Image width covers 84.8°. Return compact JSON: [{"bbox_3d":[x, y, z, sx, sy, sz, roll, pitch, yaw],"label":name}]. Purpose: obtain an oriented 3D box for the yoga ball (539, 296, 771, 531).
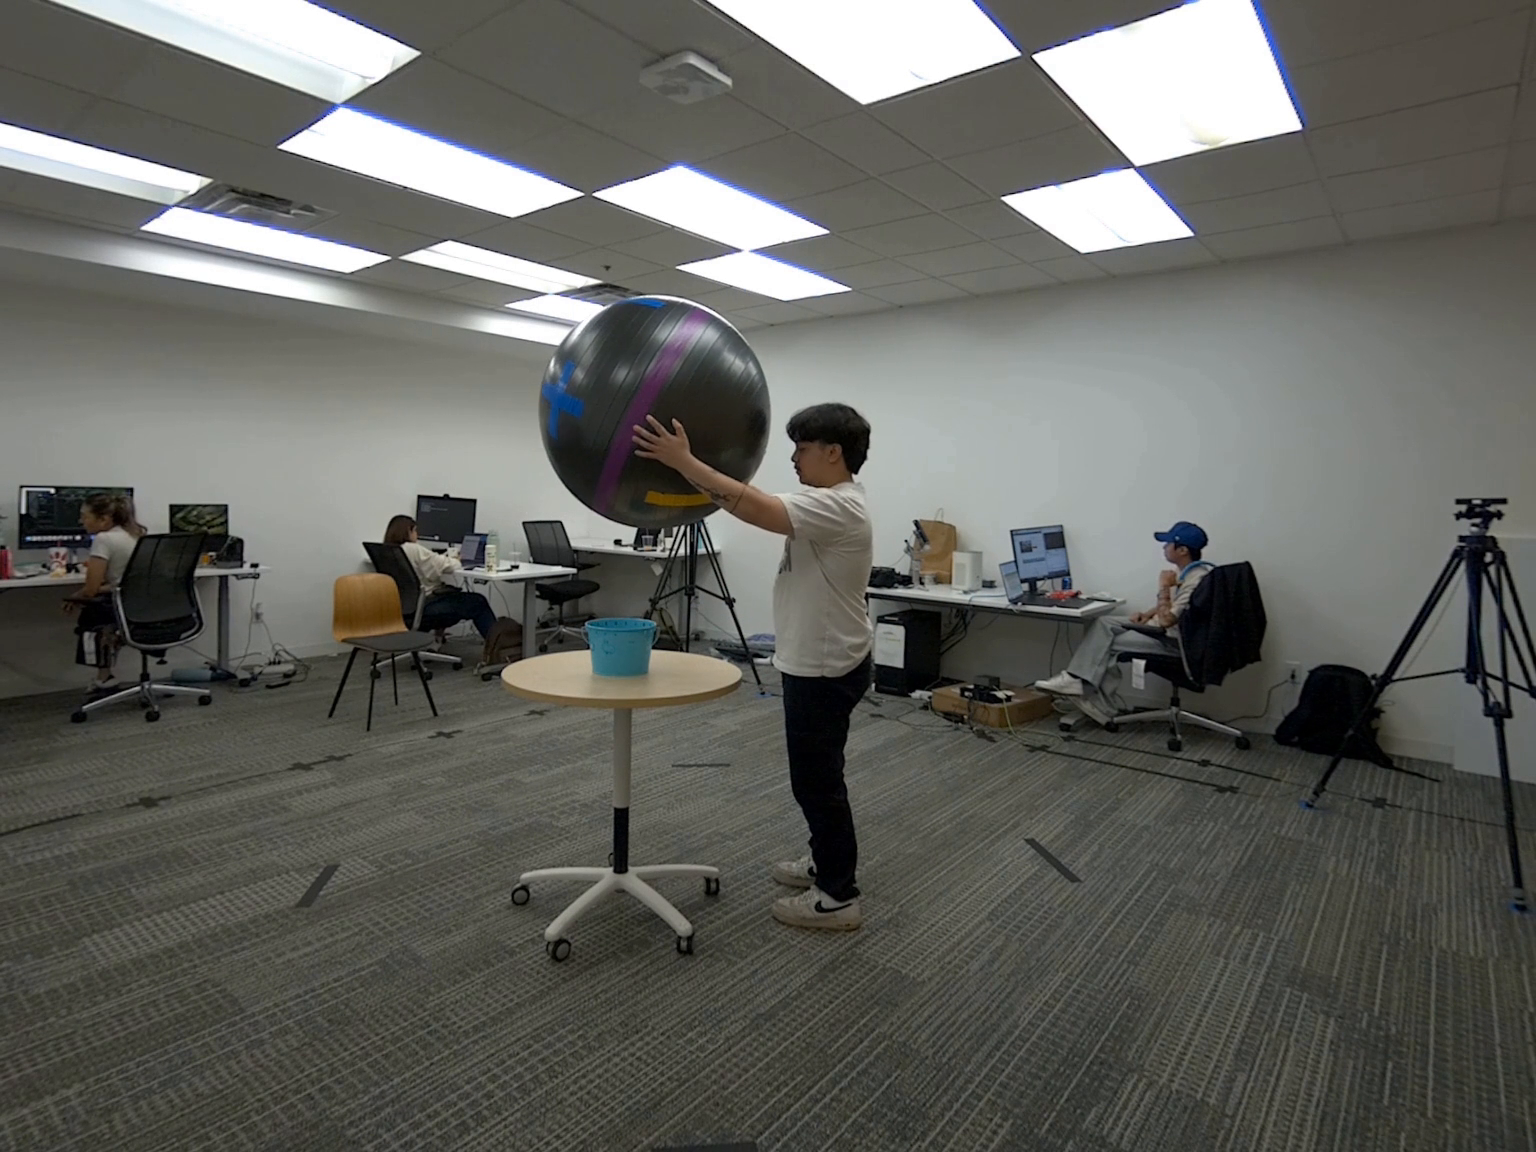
[{"bbox_3d":[-0.383,-0.524,2.799,0.757,0.755,0.762,1,4,-2],"label":"yoga ball"}]
